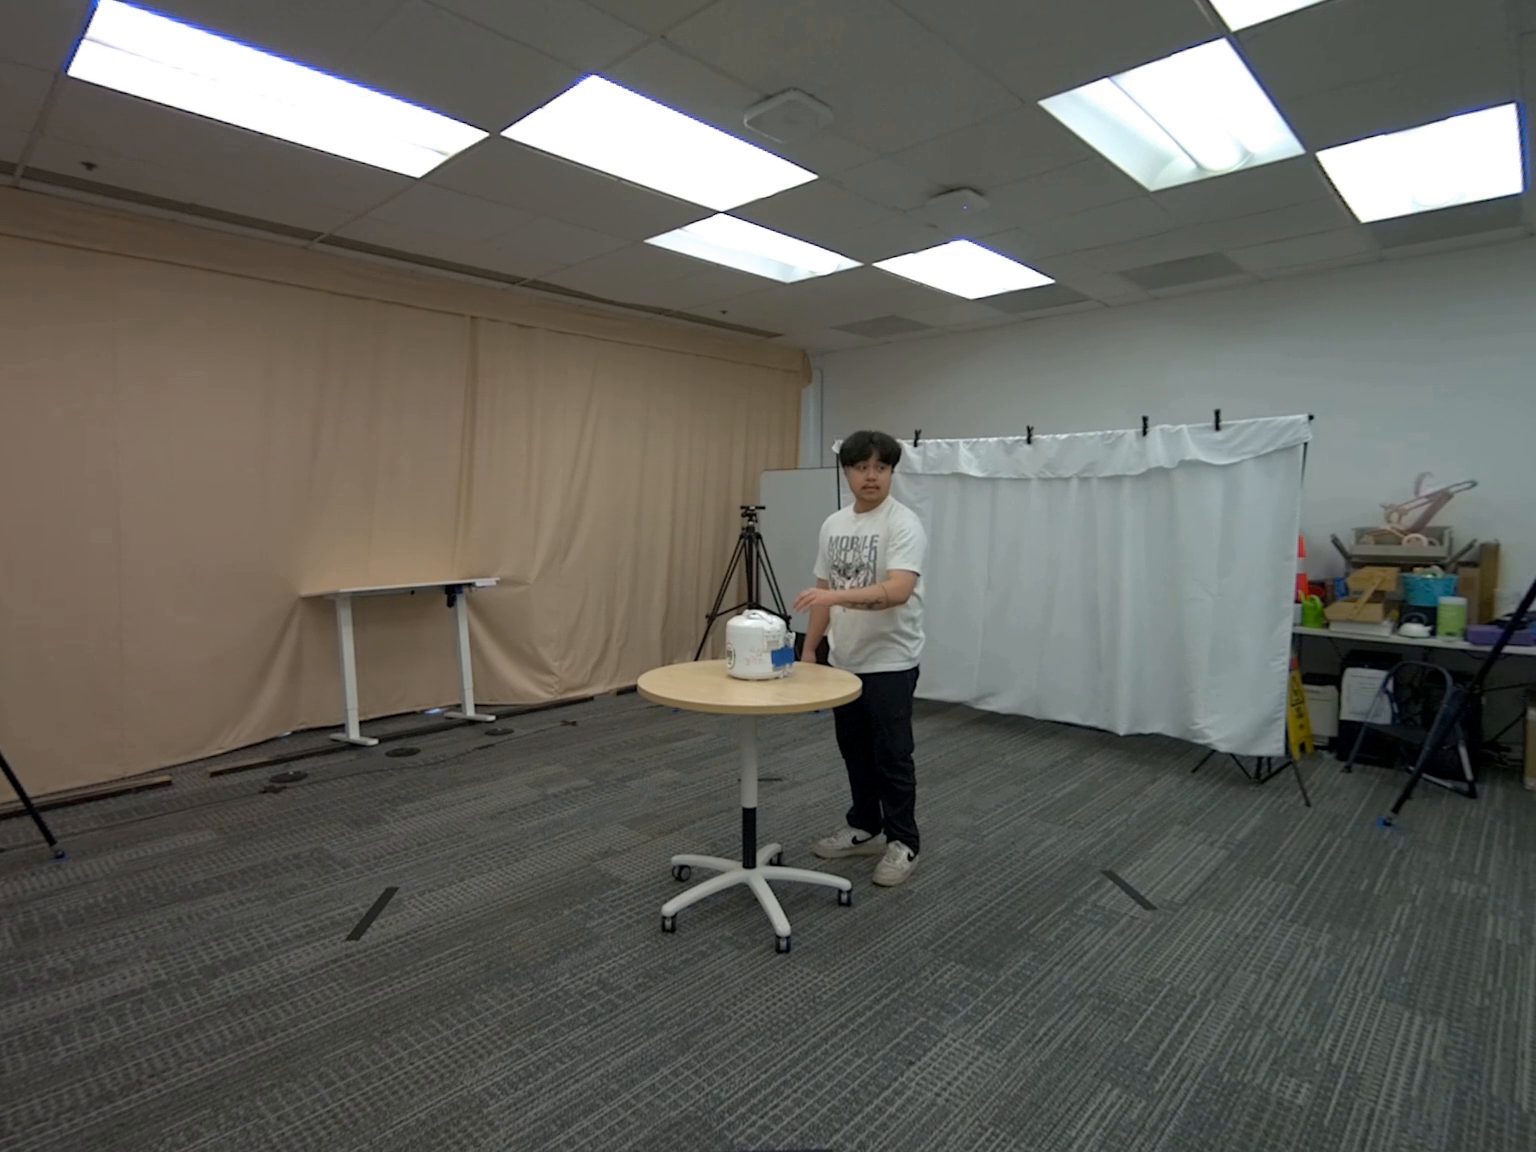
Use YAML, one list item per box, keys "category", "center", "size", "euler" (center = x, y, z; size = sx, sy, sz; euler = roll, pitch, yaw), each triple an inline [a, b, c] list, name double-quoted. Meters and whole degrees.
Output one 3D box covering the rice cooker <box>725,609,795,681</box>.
- category: "rice cooker"
  center: [-0.042, 0.231, 2.934]
  size: [0.211, 0.232, 0.227]
  euler: [-1, 5, -31]
